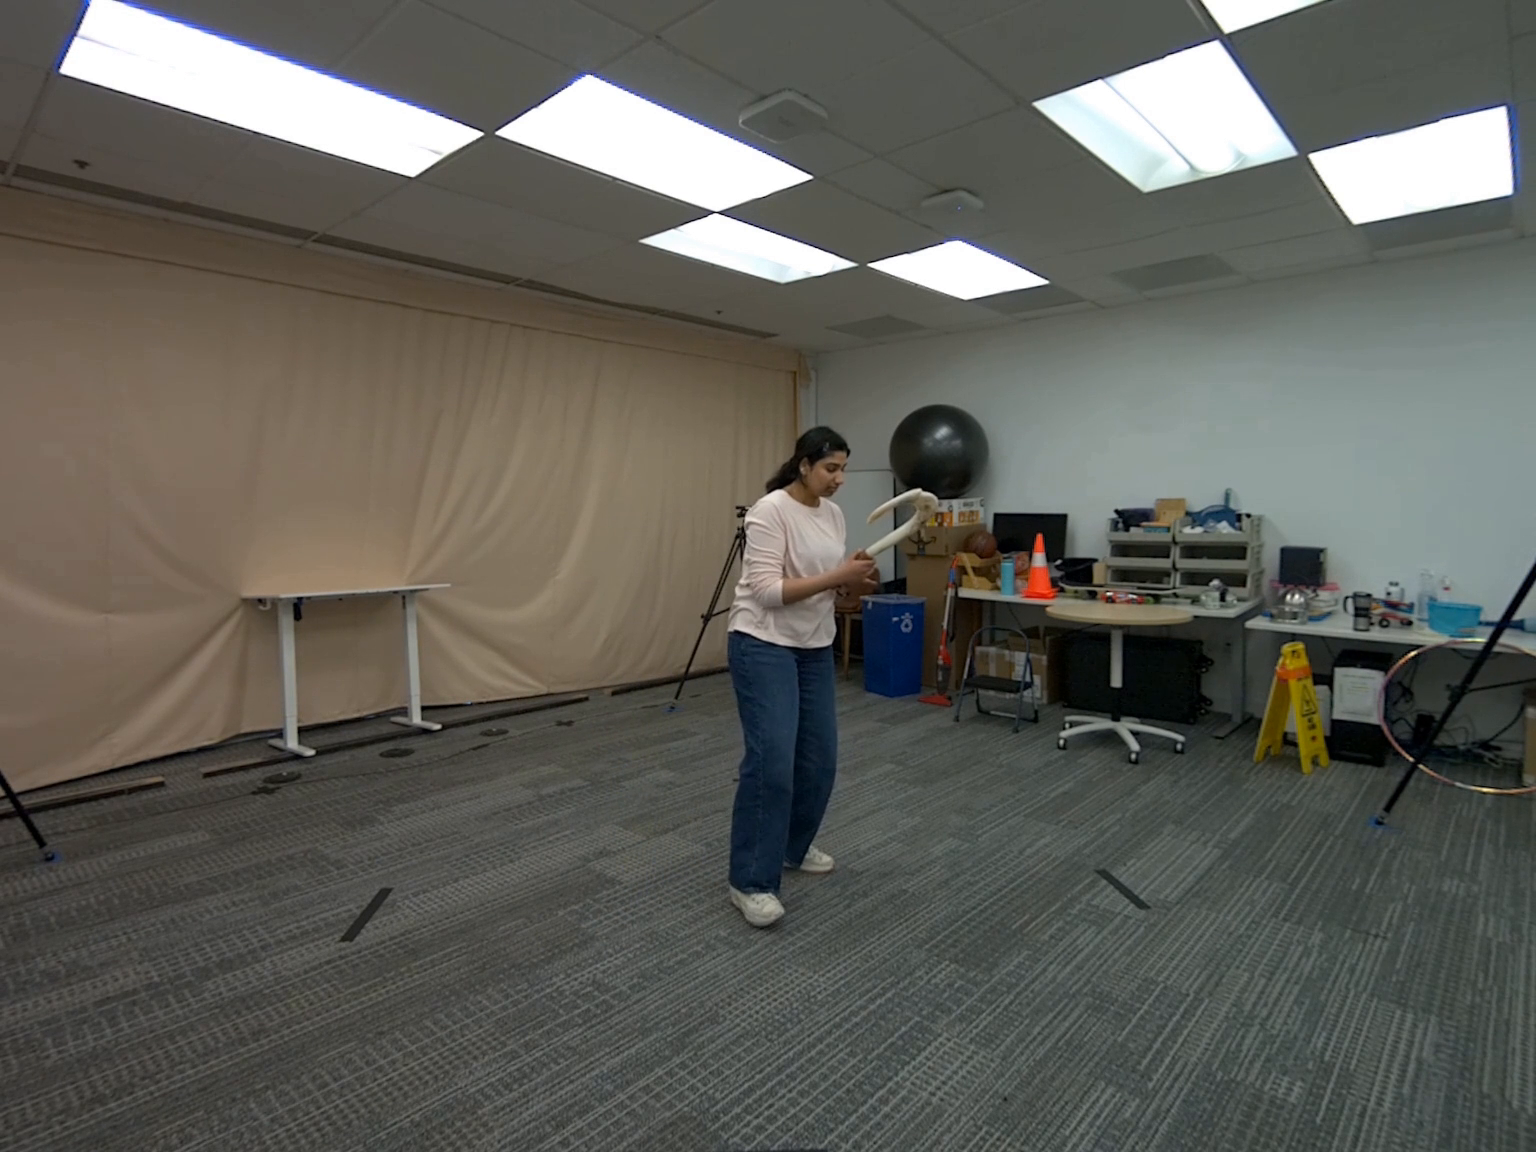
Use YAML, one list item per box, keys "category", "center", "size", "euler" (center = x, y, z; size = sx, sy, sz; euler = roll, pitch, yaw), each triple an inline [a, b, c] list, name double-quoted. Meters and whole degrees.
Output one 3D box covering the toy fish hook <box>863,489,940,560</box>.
- category: "toy fish hook"
  center: [0.345, -0.113, 2.791]
  size: [0.217, 0.049, 0.510]
  euler: [17, -50, -35]
